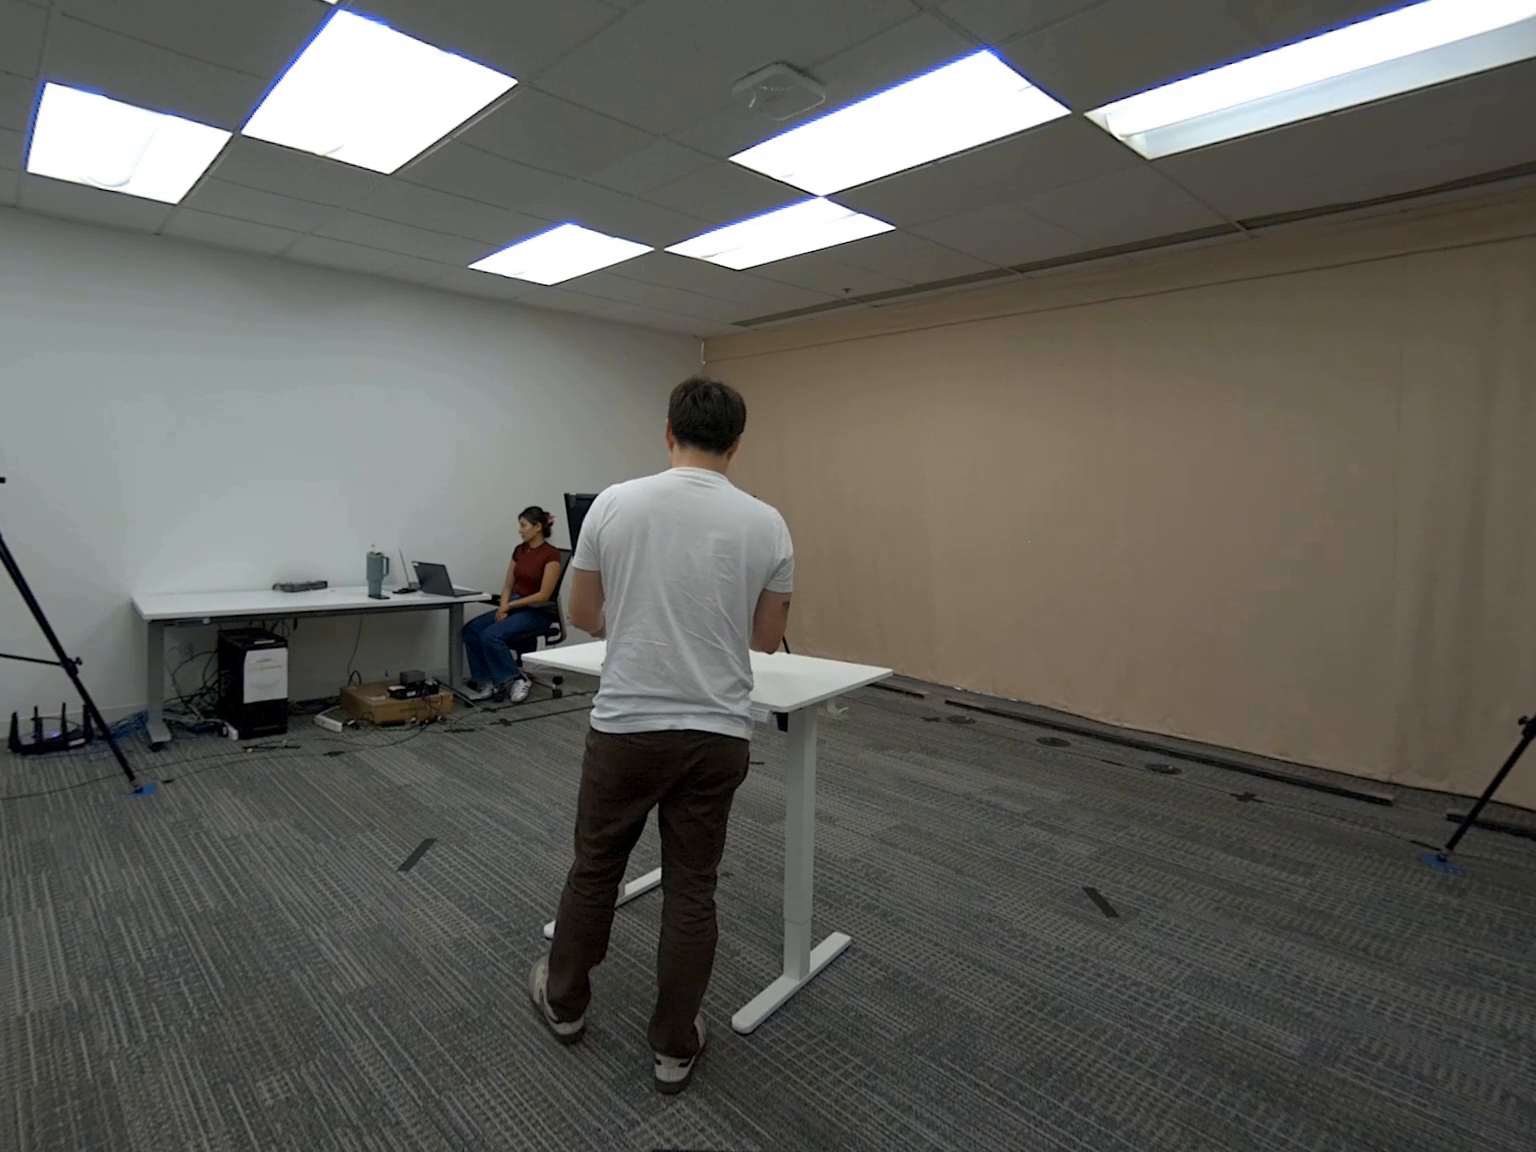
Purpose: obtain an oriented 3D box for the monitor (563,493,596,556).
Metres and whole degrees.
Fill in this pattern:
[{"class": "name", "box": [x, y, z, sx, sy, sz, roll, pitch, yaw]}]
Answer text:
[{"class": "monitor", "box": [-0.344, 0.023, 2.472, 0.543, 0.520, 0.186, 3, 7, 10]}]
